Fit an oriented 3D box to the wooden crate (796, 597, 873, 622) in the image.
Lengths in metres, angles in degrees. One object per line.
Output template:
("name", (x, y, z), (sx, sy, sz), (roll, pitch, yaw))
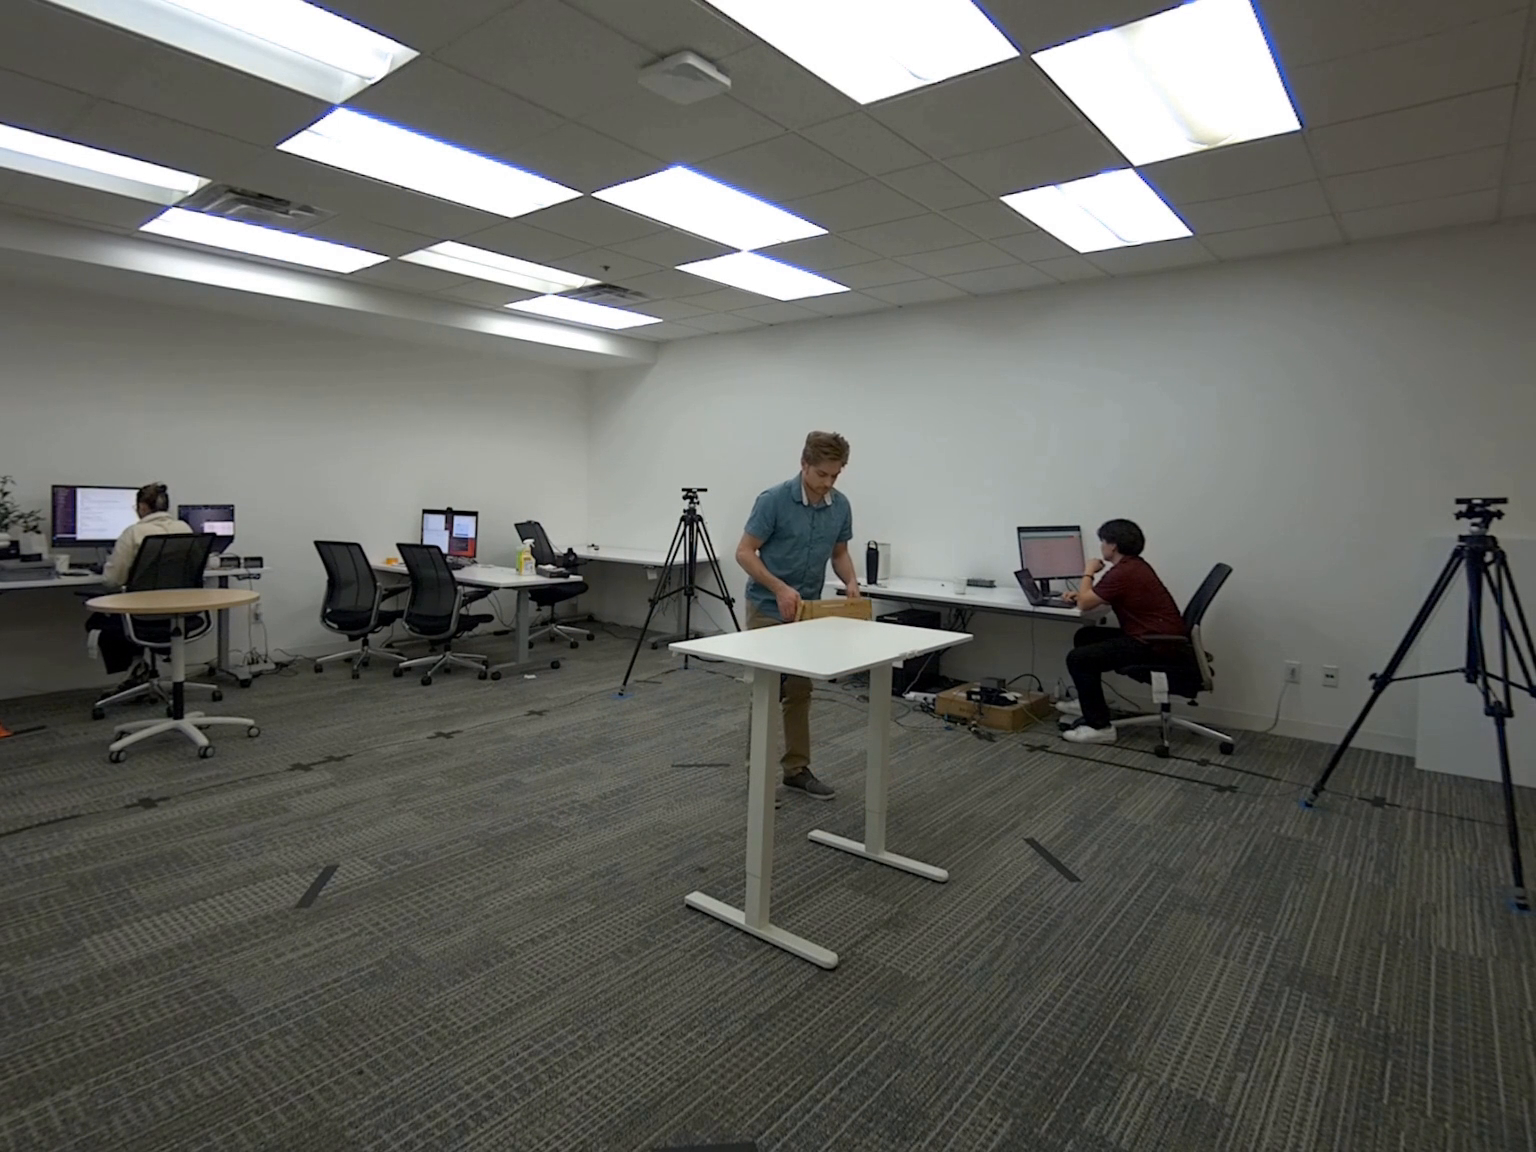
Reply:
("wooden crate", (0.254, 0.219, 3.710), (0.318, 0.273, 0.308), (-3, 1, -21))
